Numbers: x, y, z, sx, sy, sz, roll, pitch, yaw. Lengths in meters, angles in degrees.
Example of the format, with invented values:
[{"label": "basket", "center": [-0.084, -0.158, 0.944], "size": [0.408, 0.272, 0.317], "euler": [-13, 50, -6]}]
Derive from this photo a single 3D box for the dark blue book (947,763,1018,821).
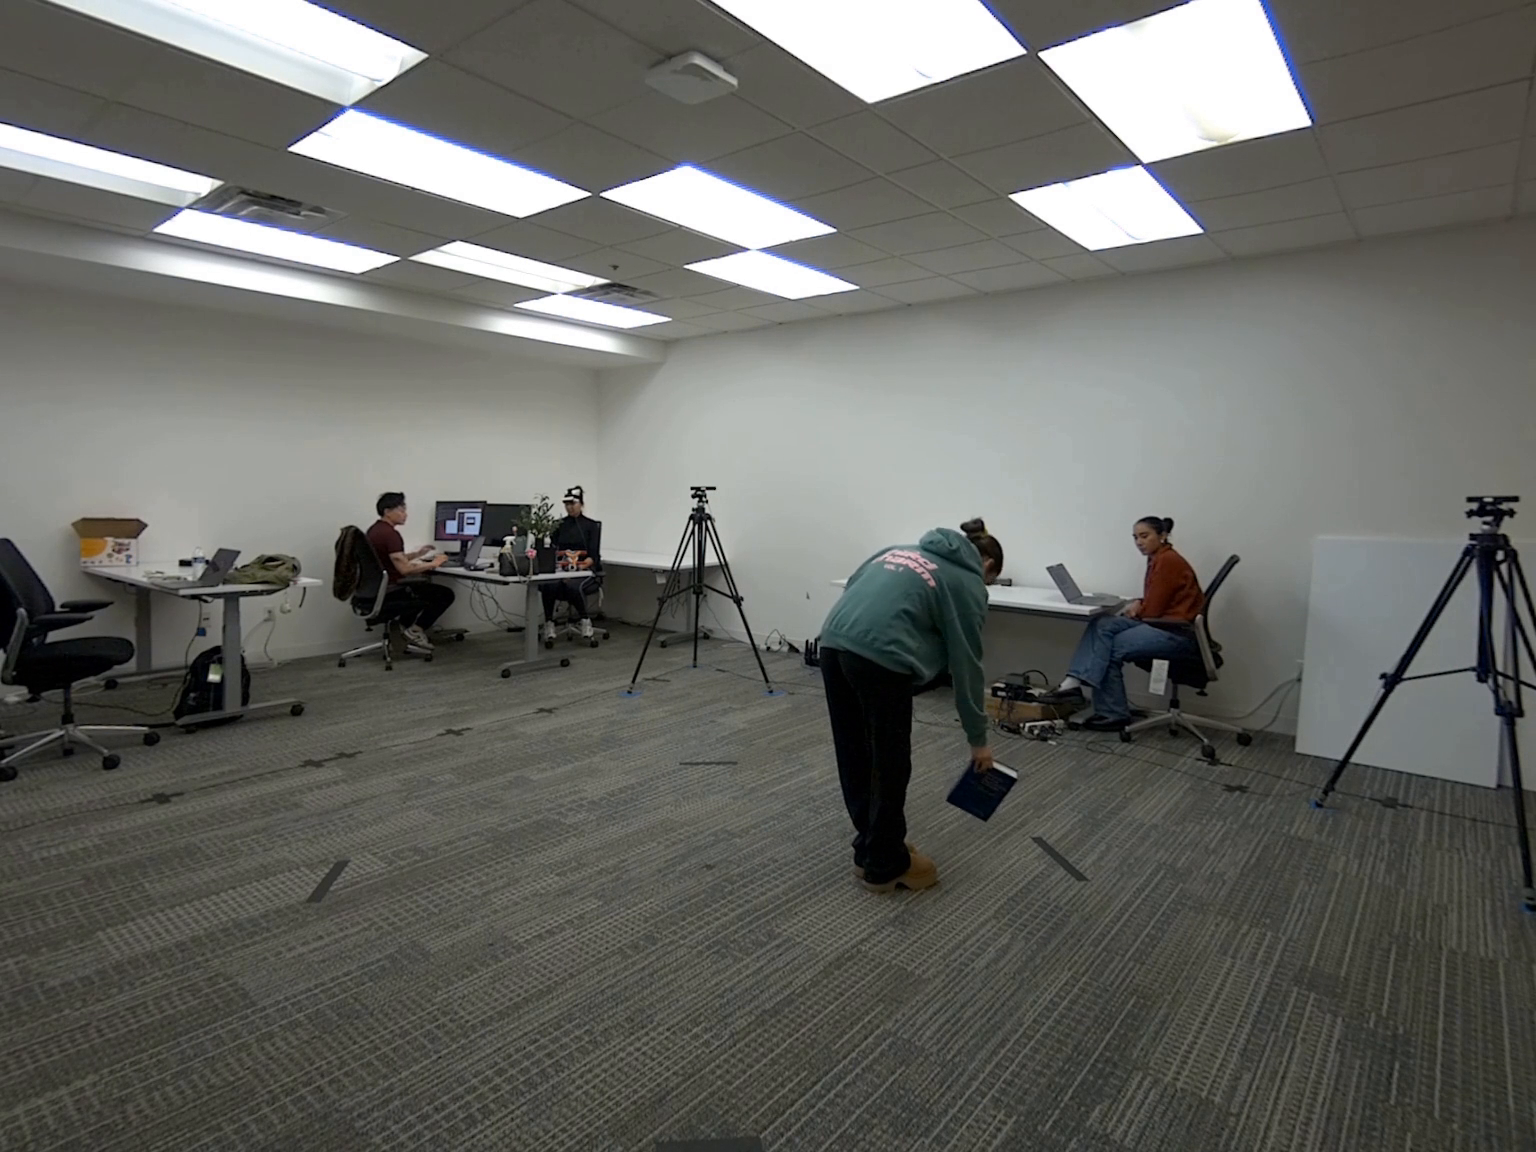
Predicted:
[{"label": "dark blue book", "center": [0.780, 0.774, 3.117], "size": [0.165, 0.242, 0.045], "euler": [26, 31, 6]}]
